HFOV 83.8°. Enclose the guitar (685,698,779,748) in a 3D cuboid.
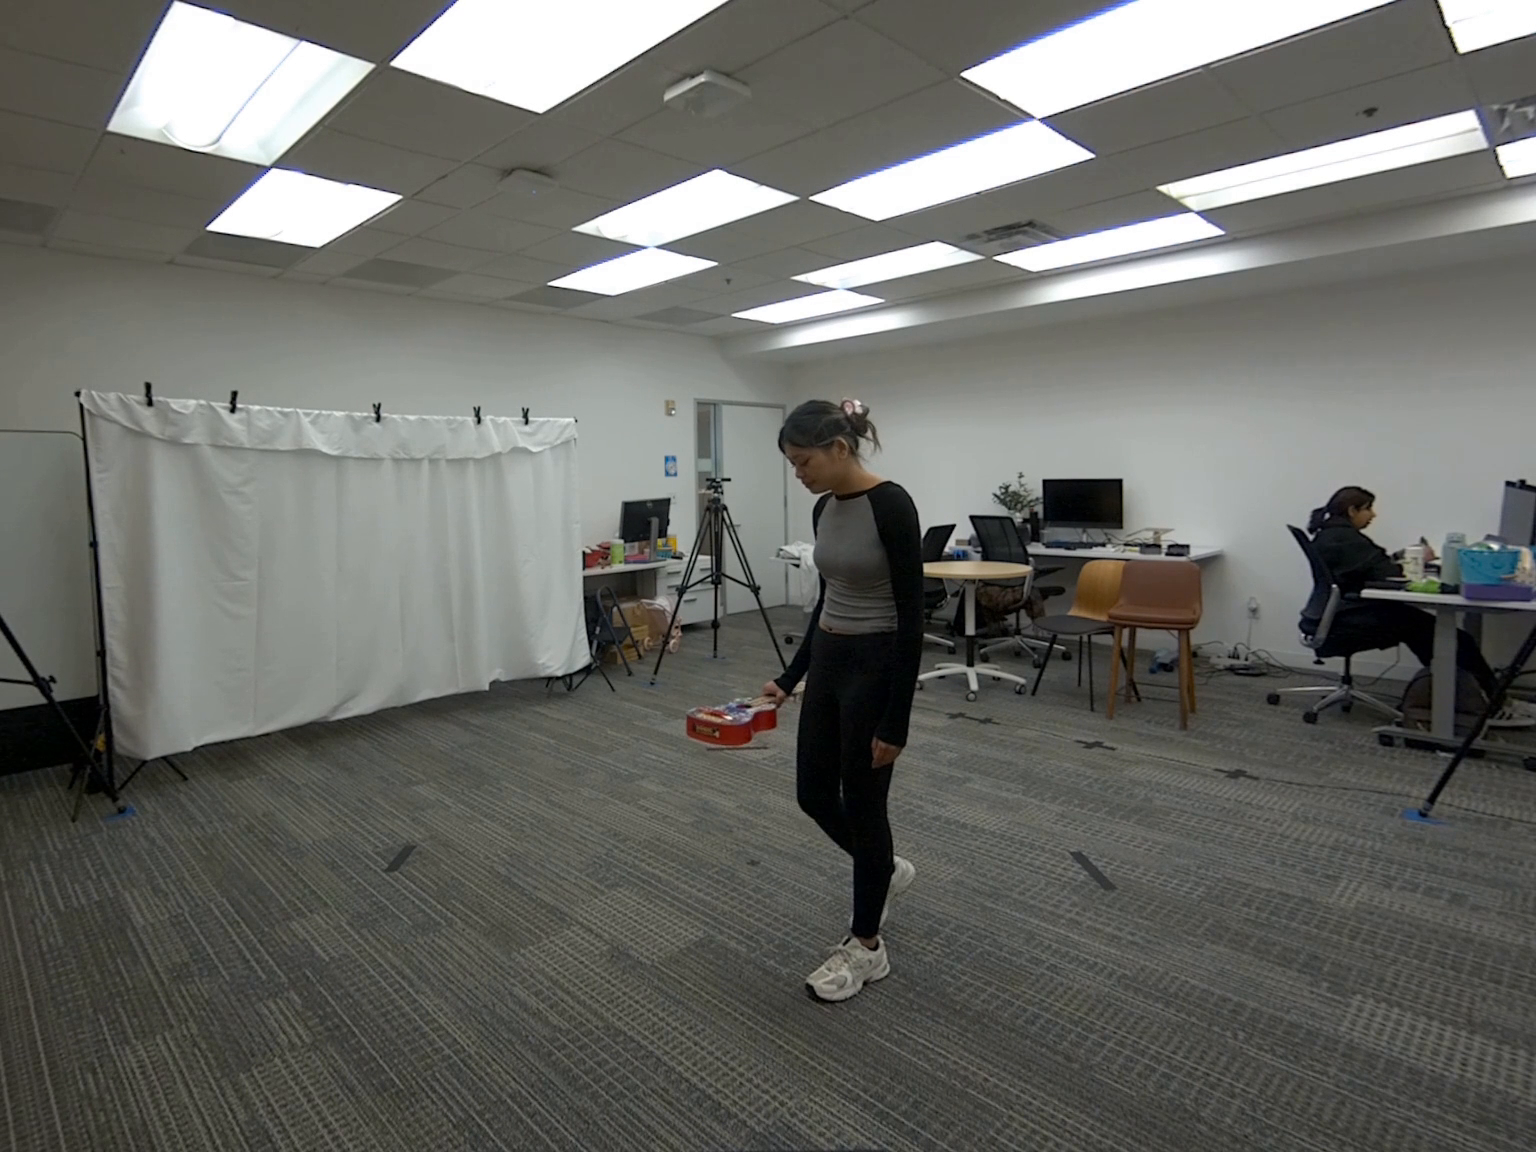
[{"bbox_3d":[-0.006,0.386,2.454,0.485,0.070,0.199,-8,10,-42],"label":"guitar"}]
